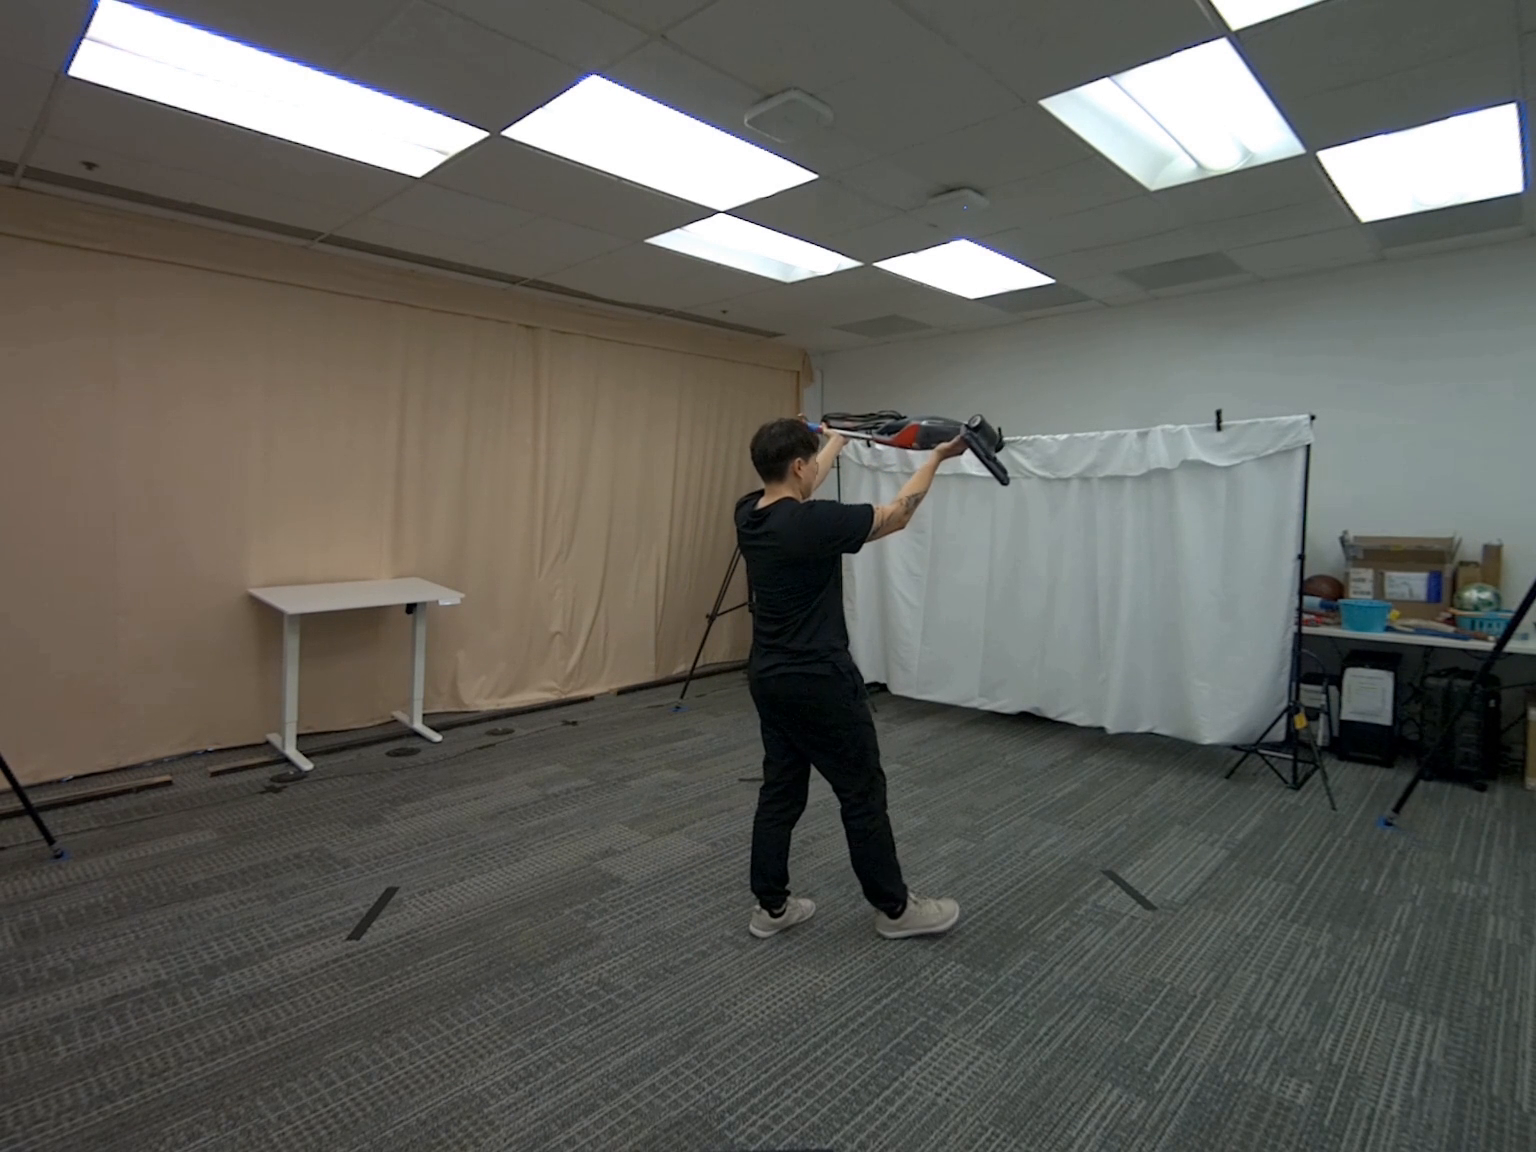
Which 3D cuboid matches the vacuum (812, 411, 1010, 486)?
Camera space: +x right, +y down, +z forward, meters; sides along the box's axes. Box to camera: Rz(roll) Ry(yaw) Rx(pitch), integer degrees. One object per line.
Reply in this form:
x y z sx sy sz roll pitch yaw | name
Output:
0.415 -0.525 2.976 0.244 0.144 1.084 36 -4 -33 | vacuum
